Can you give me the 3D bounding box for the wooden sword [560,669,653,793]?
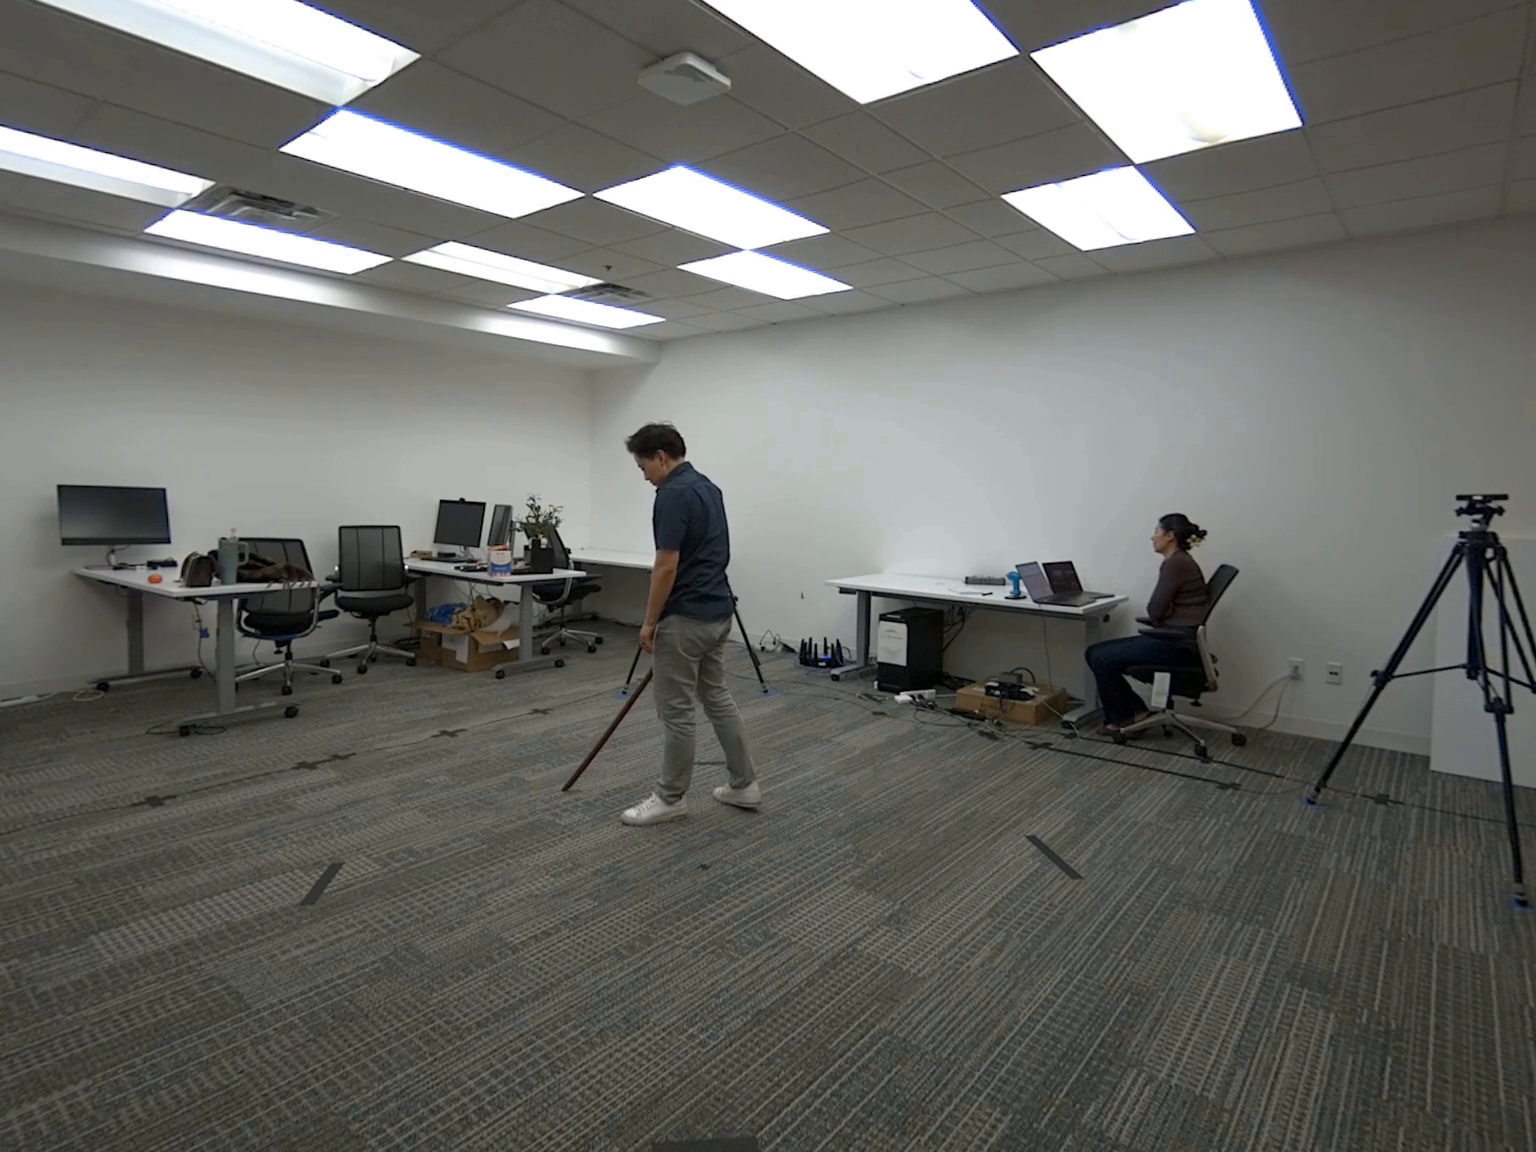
[{"bbox_3d":[-0.648,0.574,3.933,0.025,1.026,0.049,29,-11,45],"label":"wooden sword"}]
